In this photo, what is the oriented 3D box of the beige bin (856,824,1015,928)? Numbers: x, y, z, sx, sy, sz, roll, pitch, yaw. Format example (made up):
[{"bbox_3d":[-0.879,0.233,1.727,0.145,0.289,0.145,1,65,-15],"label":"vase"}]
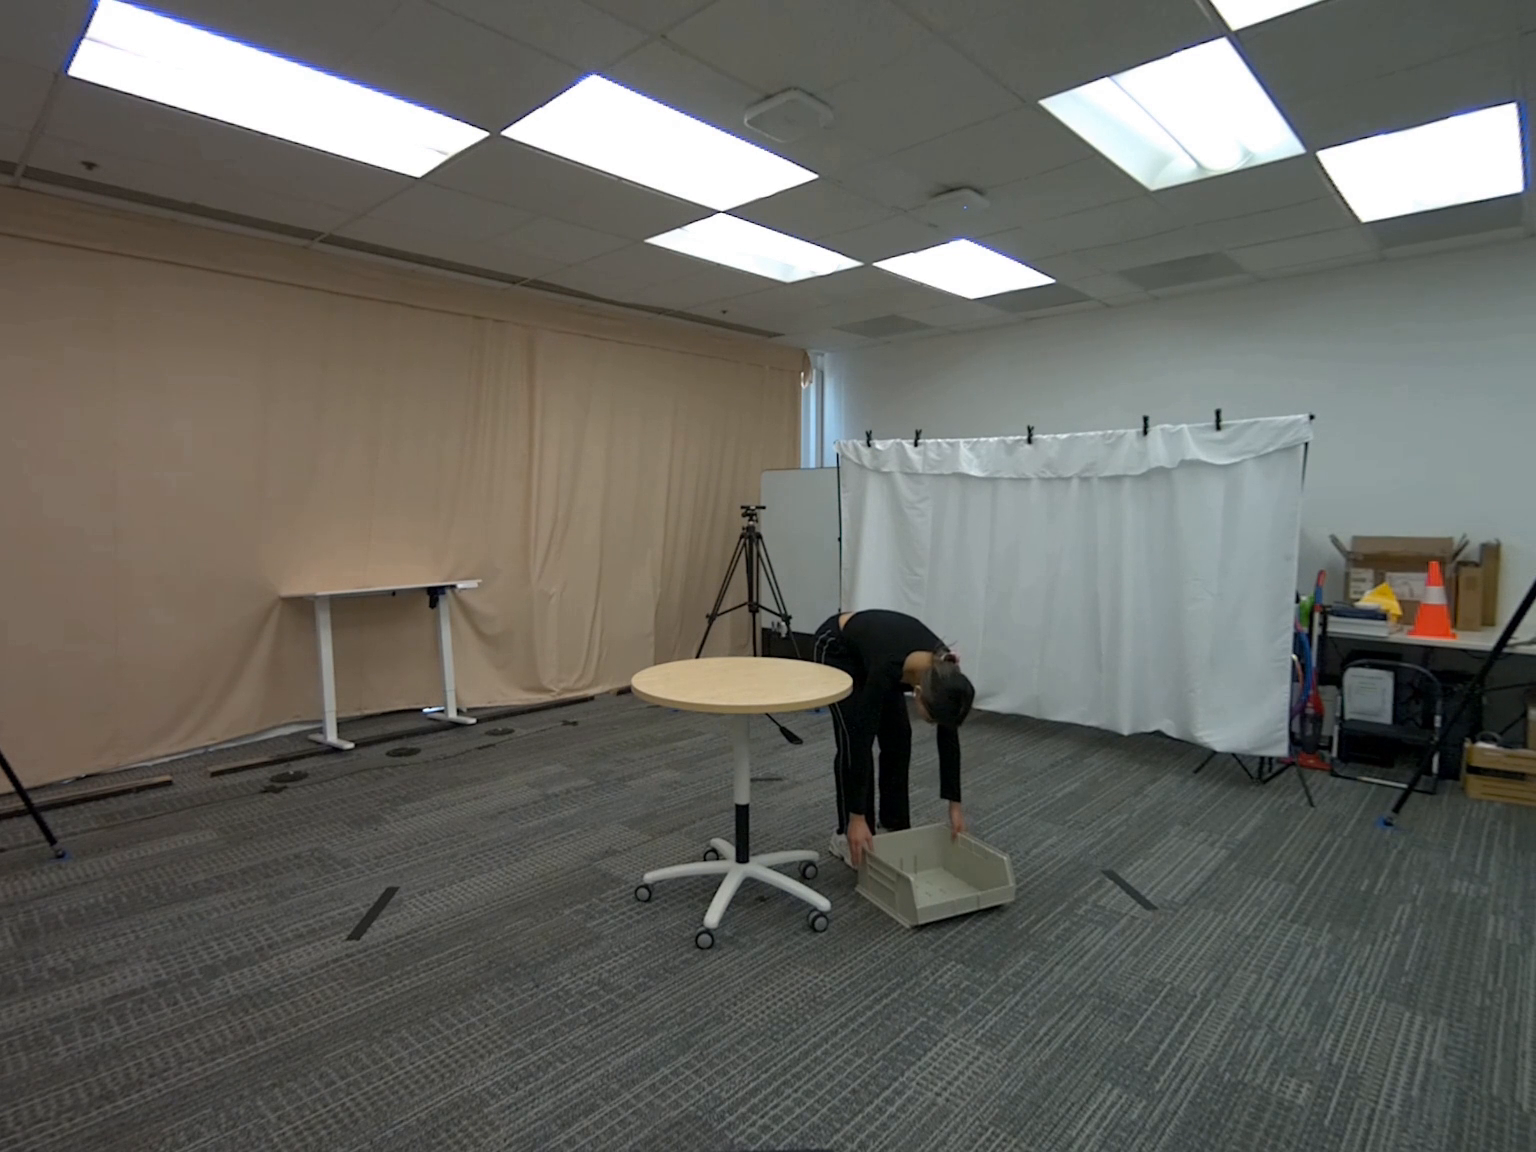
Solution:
[{"bbox_3d":[0.579,1.048,2.970,0.412,0.188,0.387,-4,5,-26],"label":"beige bin"}]
